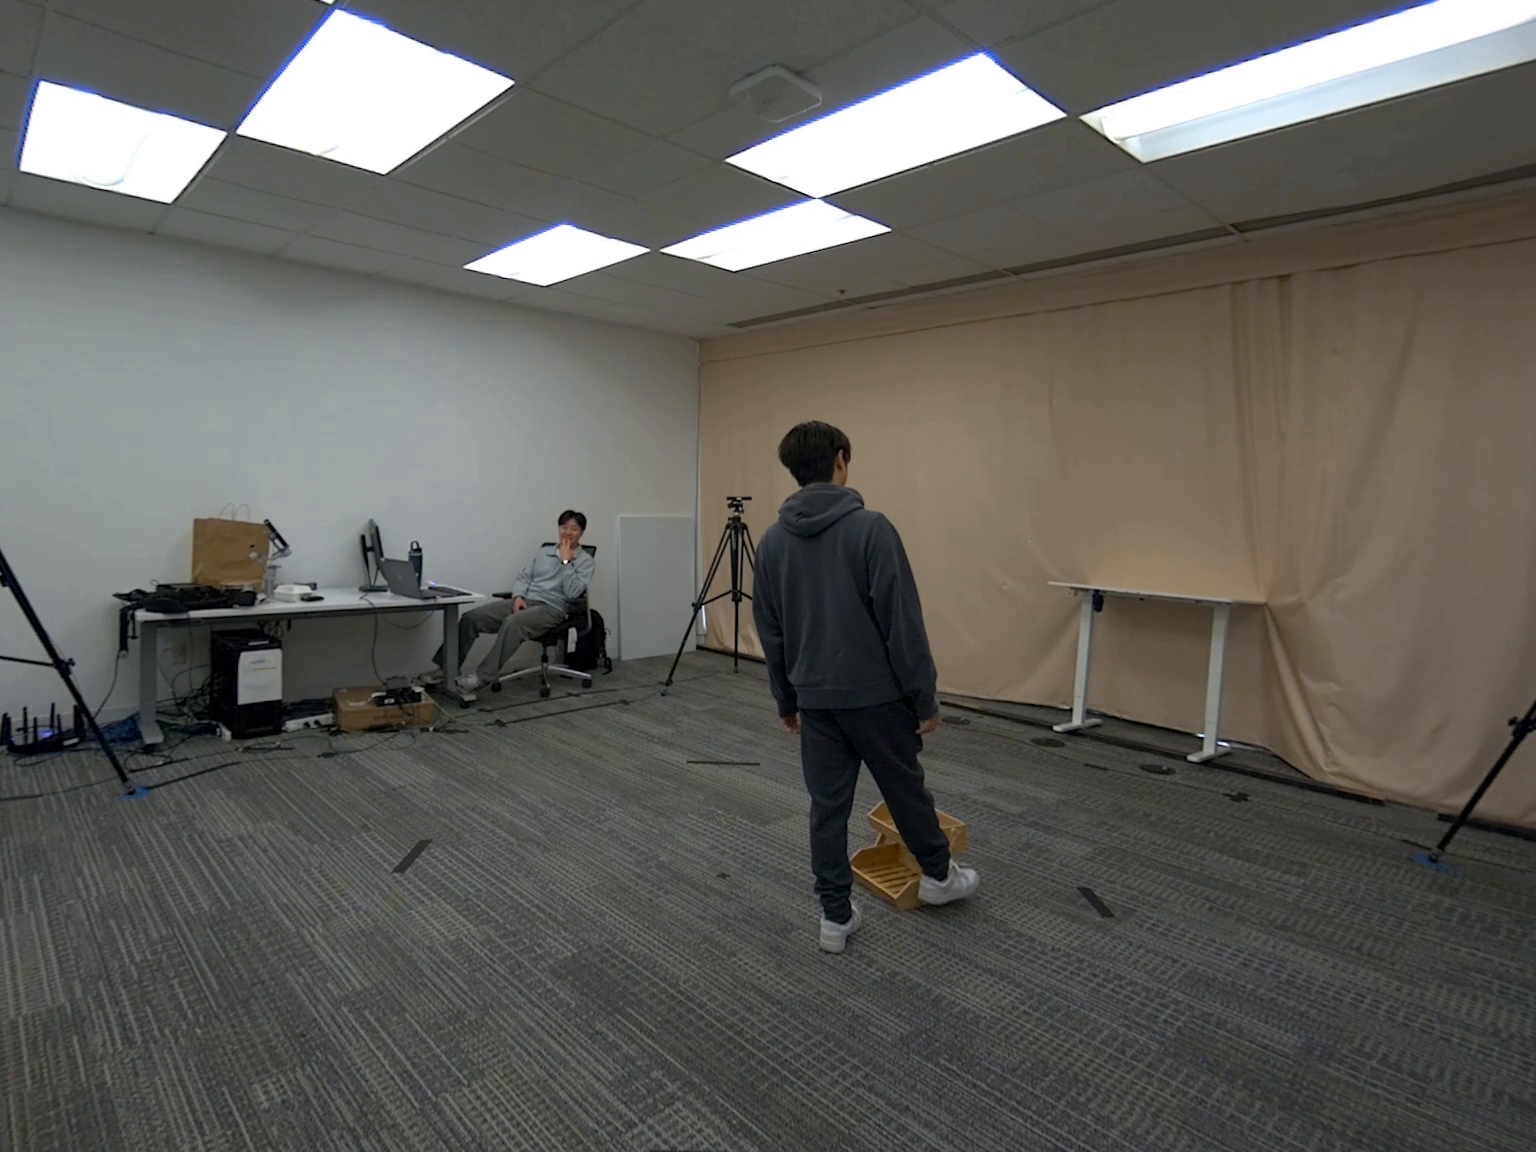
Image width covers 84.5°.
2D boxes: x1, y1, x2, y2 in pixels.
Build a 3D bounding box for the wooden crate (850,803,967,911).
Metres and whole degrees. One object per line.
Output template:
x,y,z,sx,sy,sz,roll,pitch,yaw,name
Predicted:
0.487,0.991,3.048,0.296,0.273,0.332,1,4,-29,wooden crate
